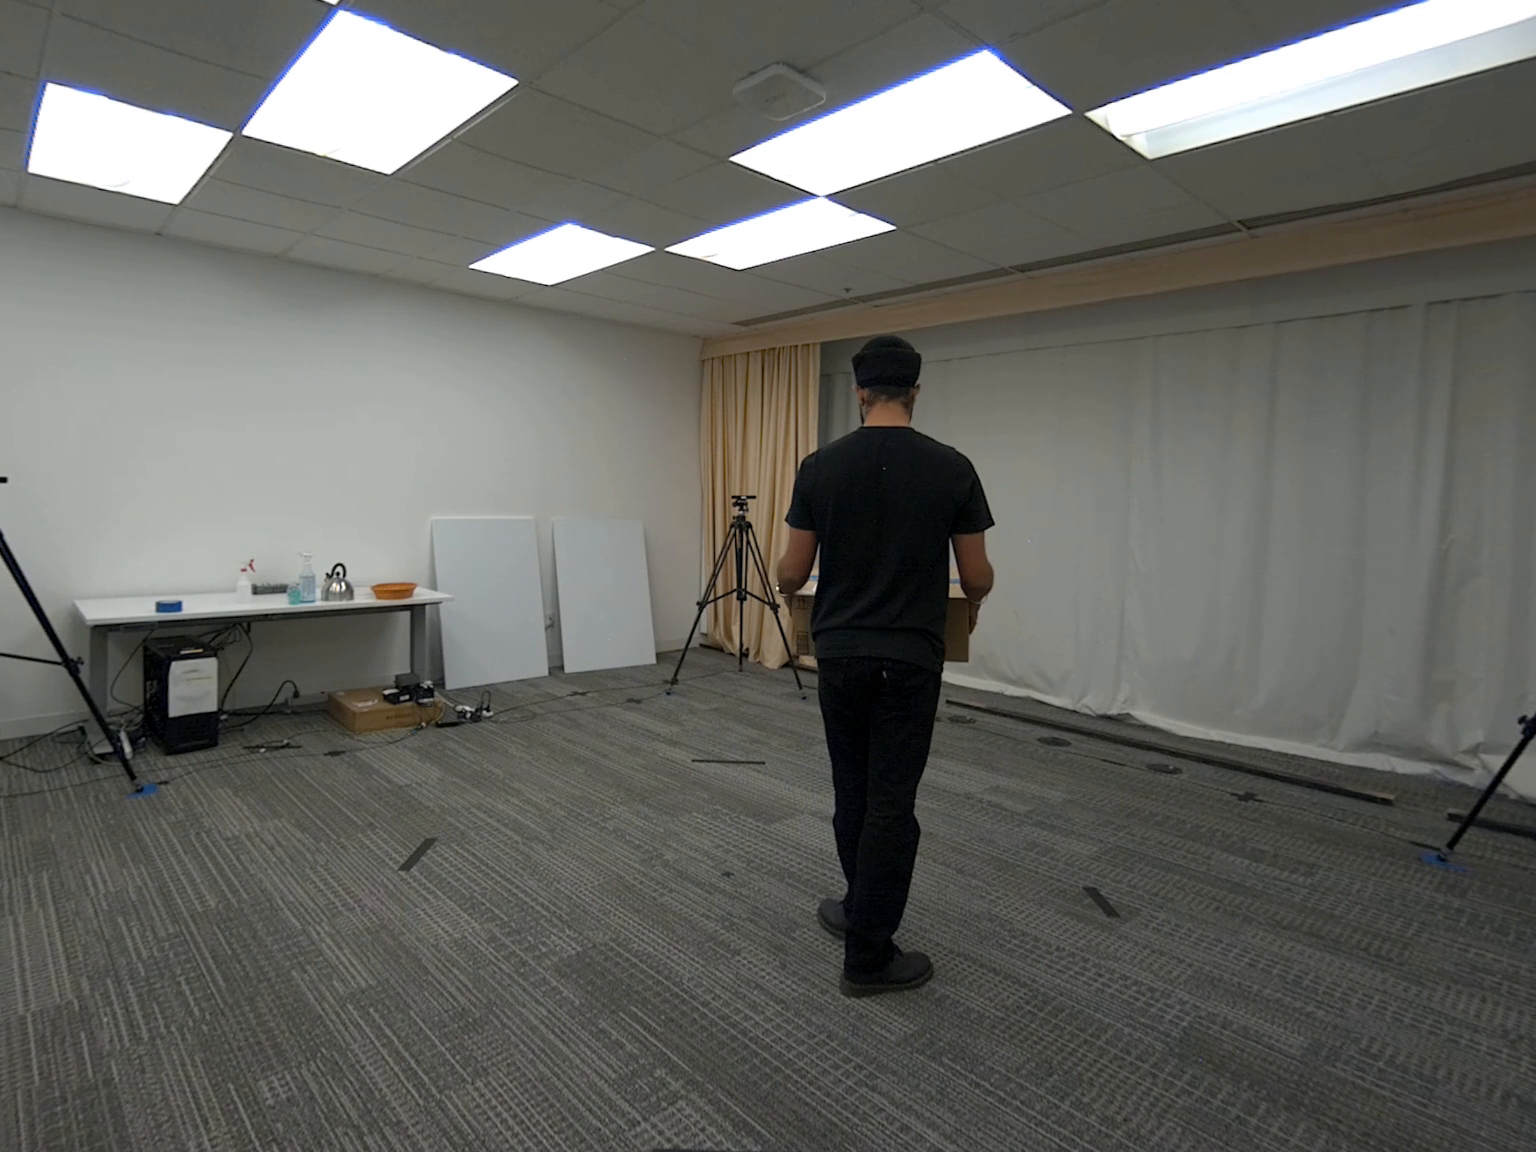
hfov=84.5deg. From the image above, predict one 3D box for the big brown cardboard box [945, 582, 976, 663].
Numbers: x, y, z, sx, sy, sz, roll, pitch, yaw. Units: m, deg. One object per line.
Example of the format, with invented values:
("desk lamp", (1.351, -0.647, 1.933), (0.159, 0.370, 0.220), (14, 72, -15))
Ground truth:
("big brown cardboard box", (0.397, 0.121, 2.903), (0.595, 0.231, 0.416), (2, 12, 13))
